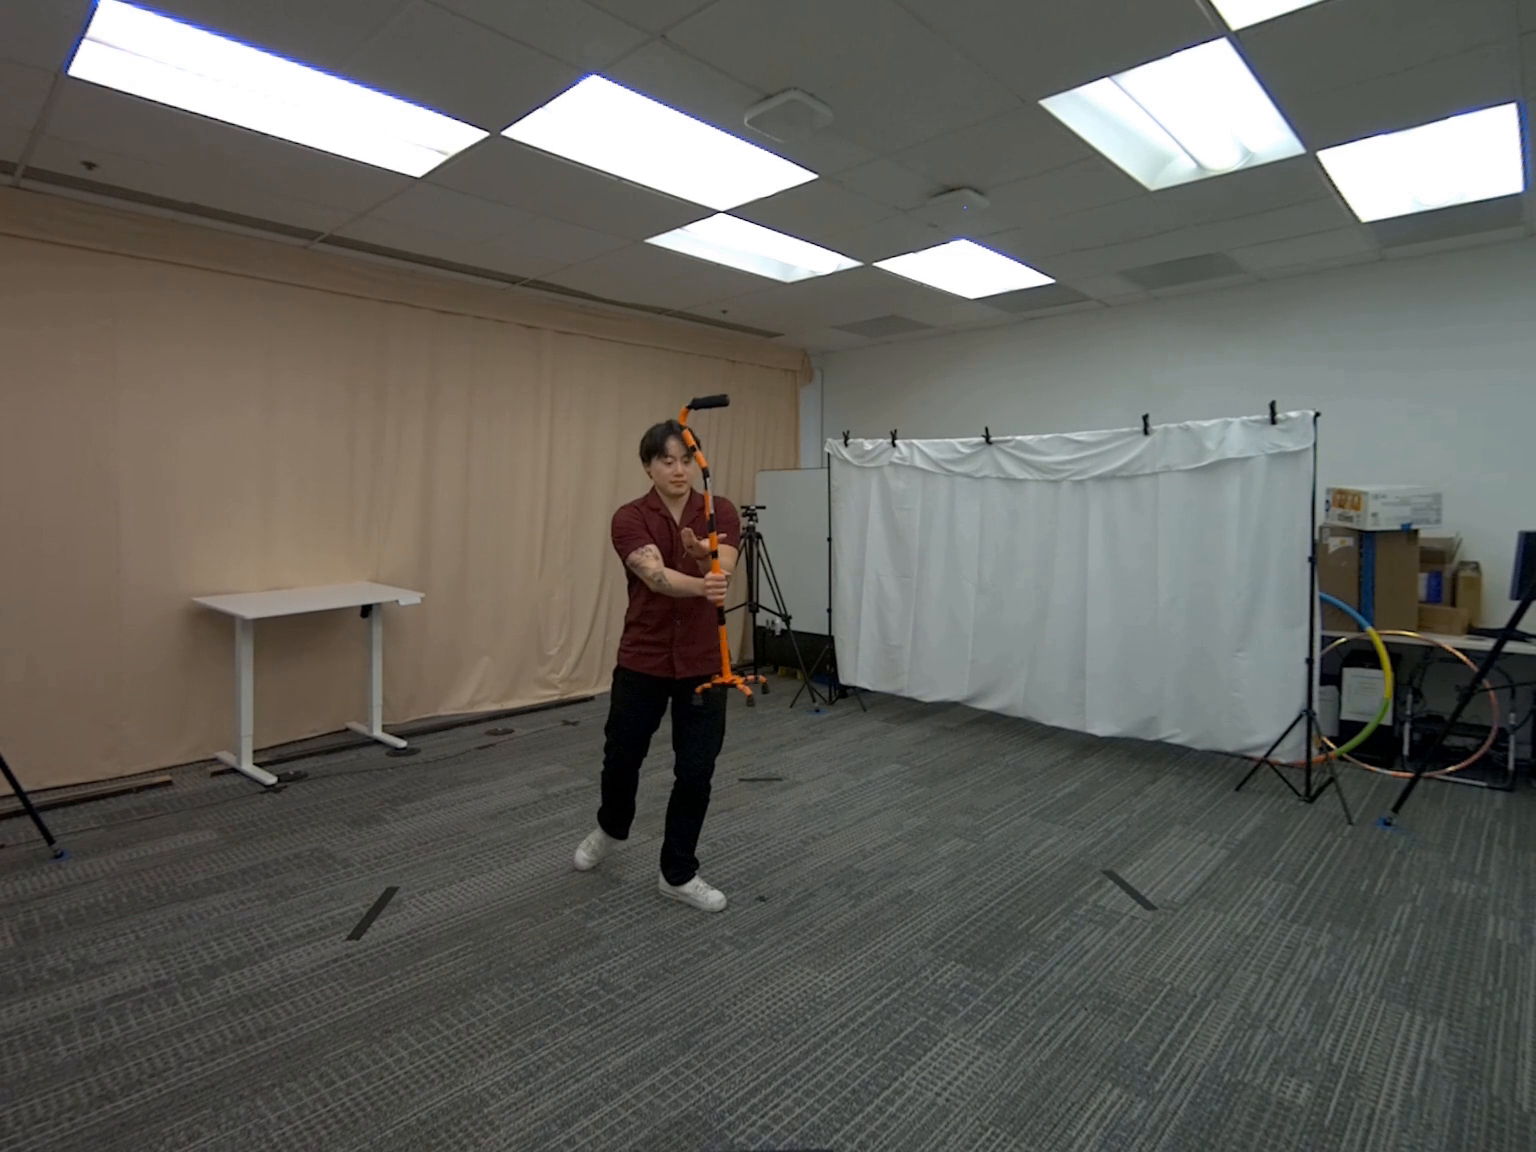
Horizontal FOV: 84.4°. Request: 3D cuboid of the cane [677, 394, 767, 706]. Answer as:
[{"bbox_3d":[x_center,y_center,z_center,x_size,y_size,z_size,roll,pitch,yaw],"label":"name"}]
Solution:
[{"bbox_3d":[-0.157,-0.074,2.516,0.212,0.904,0.148,-1,7,27],"label":"cane"}]
